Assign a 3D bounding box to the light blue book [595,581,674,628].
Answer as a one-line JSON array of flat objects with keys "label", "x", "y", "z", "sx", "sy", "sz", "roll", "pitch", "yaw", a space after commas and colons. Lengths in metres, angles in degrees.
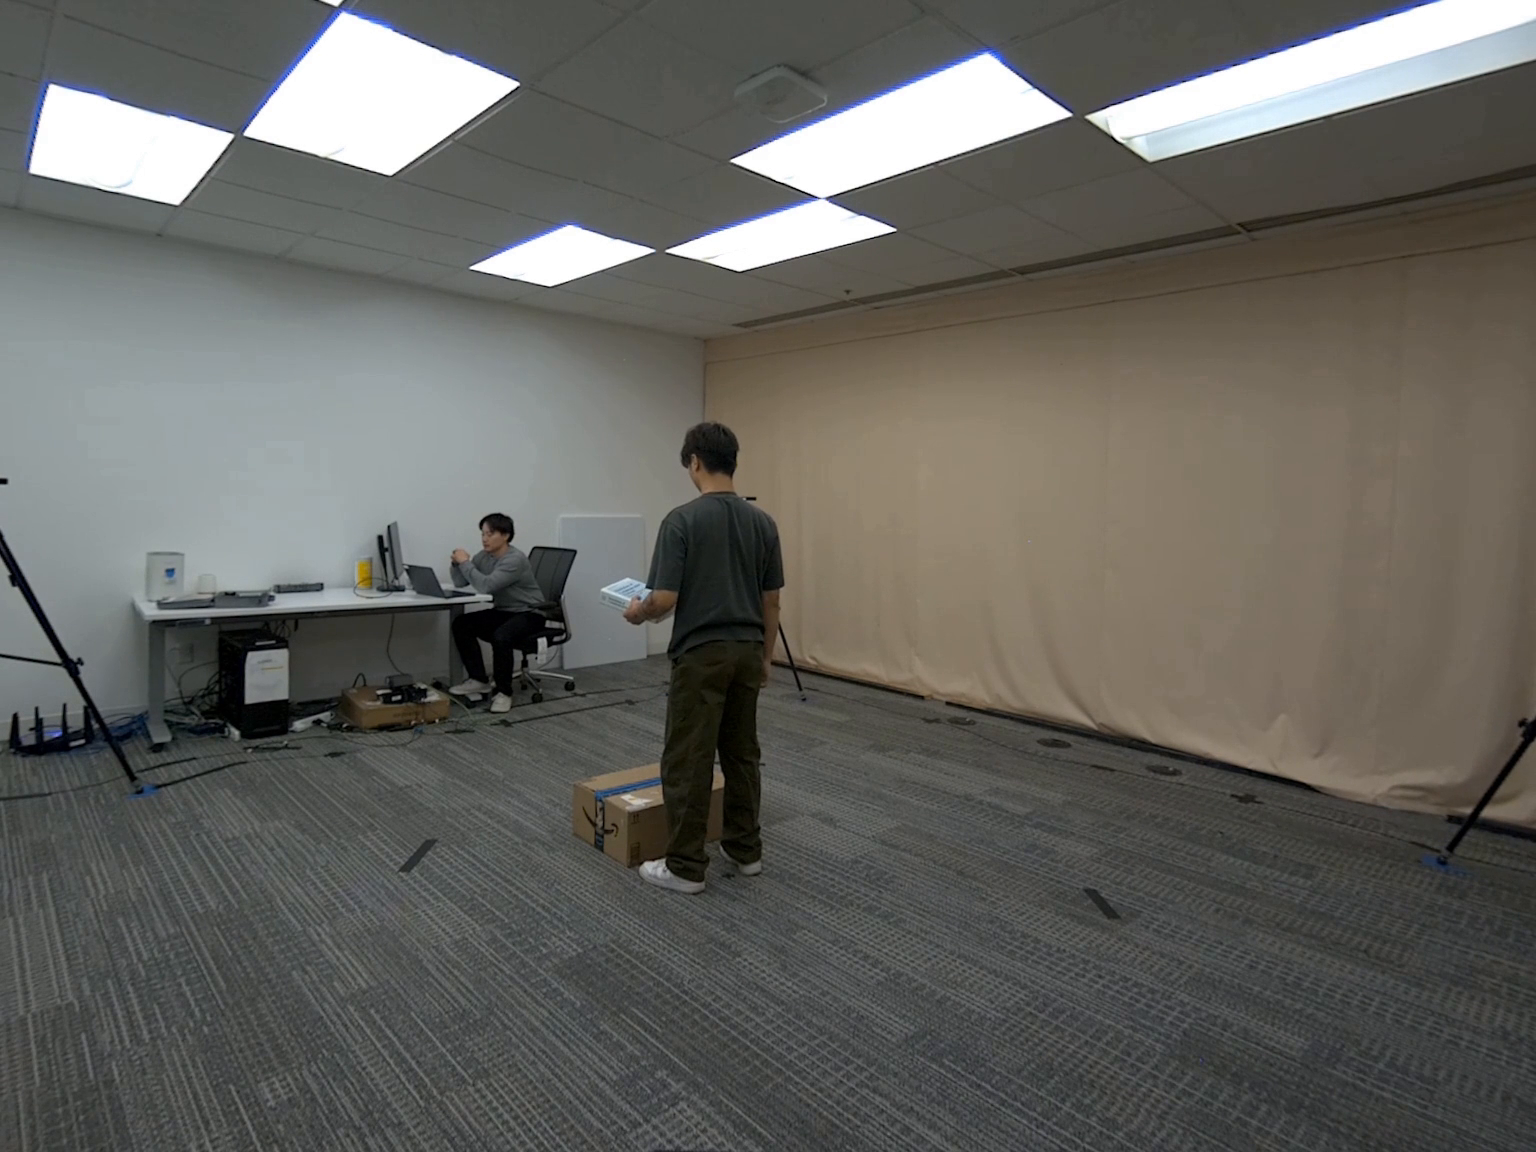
[{"label": "light blue book", "x": -0.496, "y": 0.104, "z": 3.231, "sx": 0.267, "sy": 0.058, "sz": 0.189, "roll": 18, "pitch": 18, "yaw": 24}]
